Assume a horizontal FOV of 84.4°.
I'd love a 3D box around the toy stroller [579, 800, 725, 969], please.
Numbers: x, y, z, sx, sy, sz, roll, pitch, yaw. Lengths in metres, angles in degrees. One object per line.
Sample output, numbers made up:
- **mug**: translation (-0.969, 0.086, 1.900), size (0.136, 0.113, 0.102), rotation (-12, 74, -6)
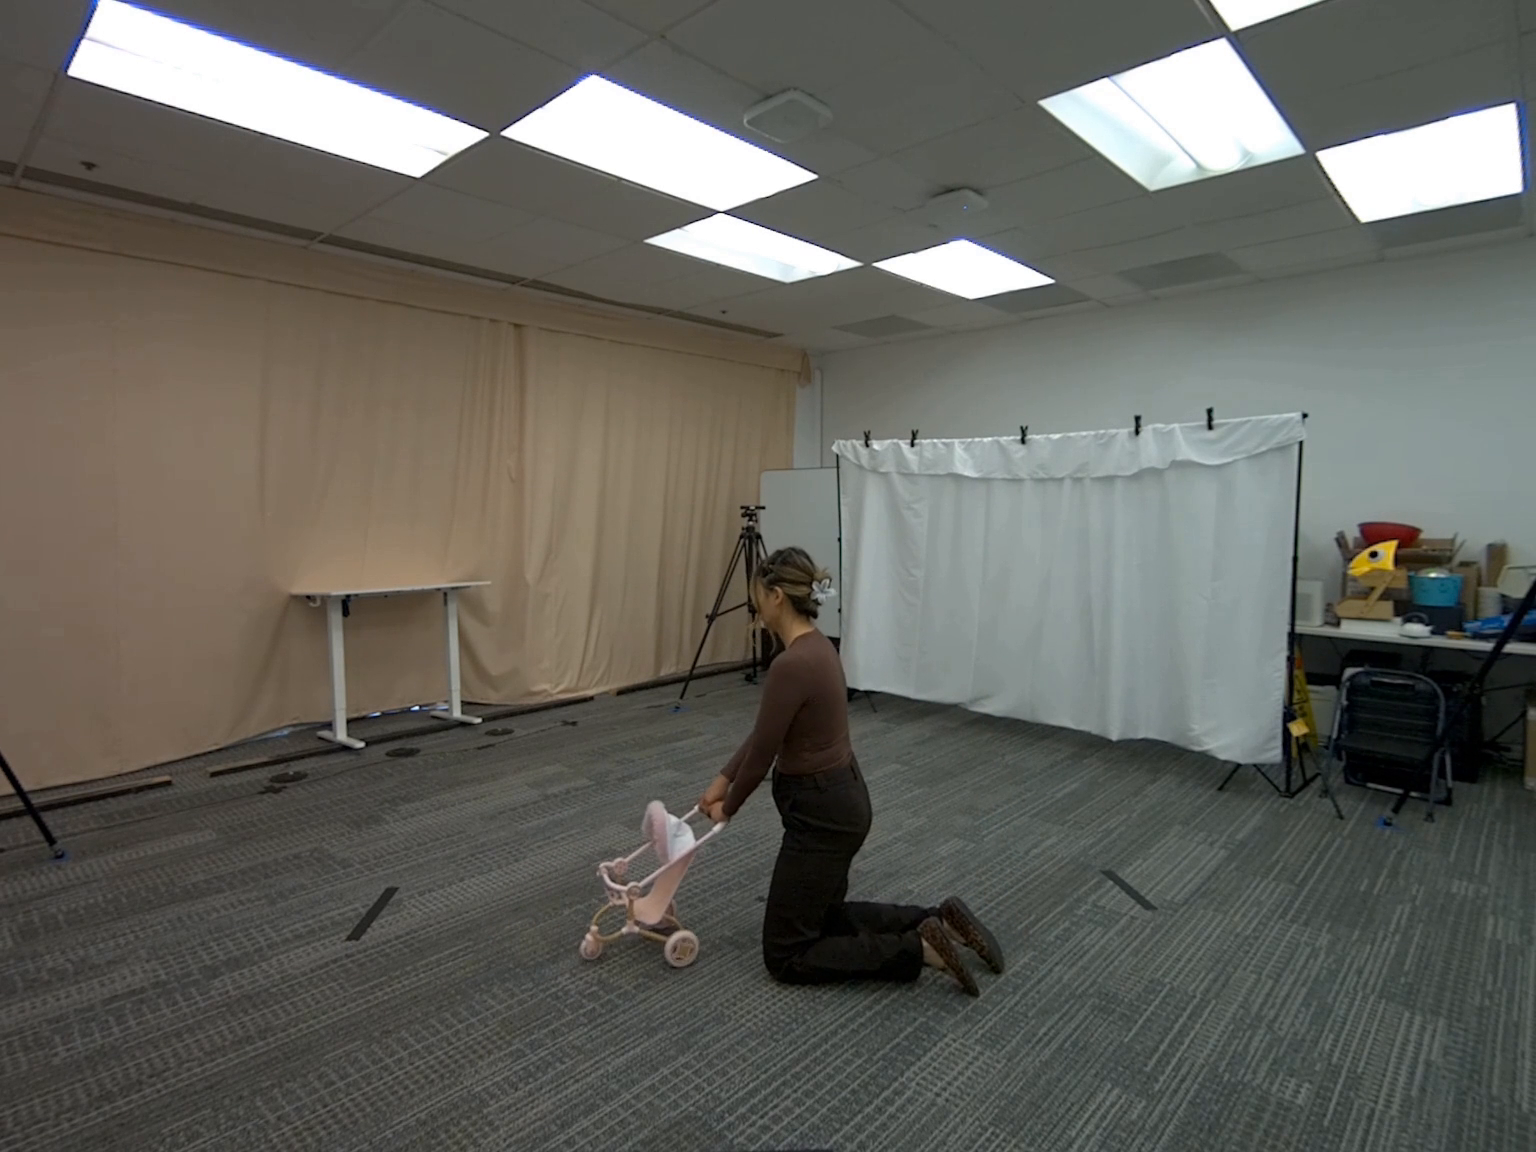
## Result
- **toy stroller**: translation (-0.368, 0.956, 2.641), size (0.335, 0.535, 0.286), rotation (16, -2, -15)
